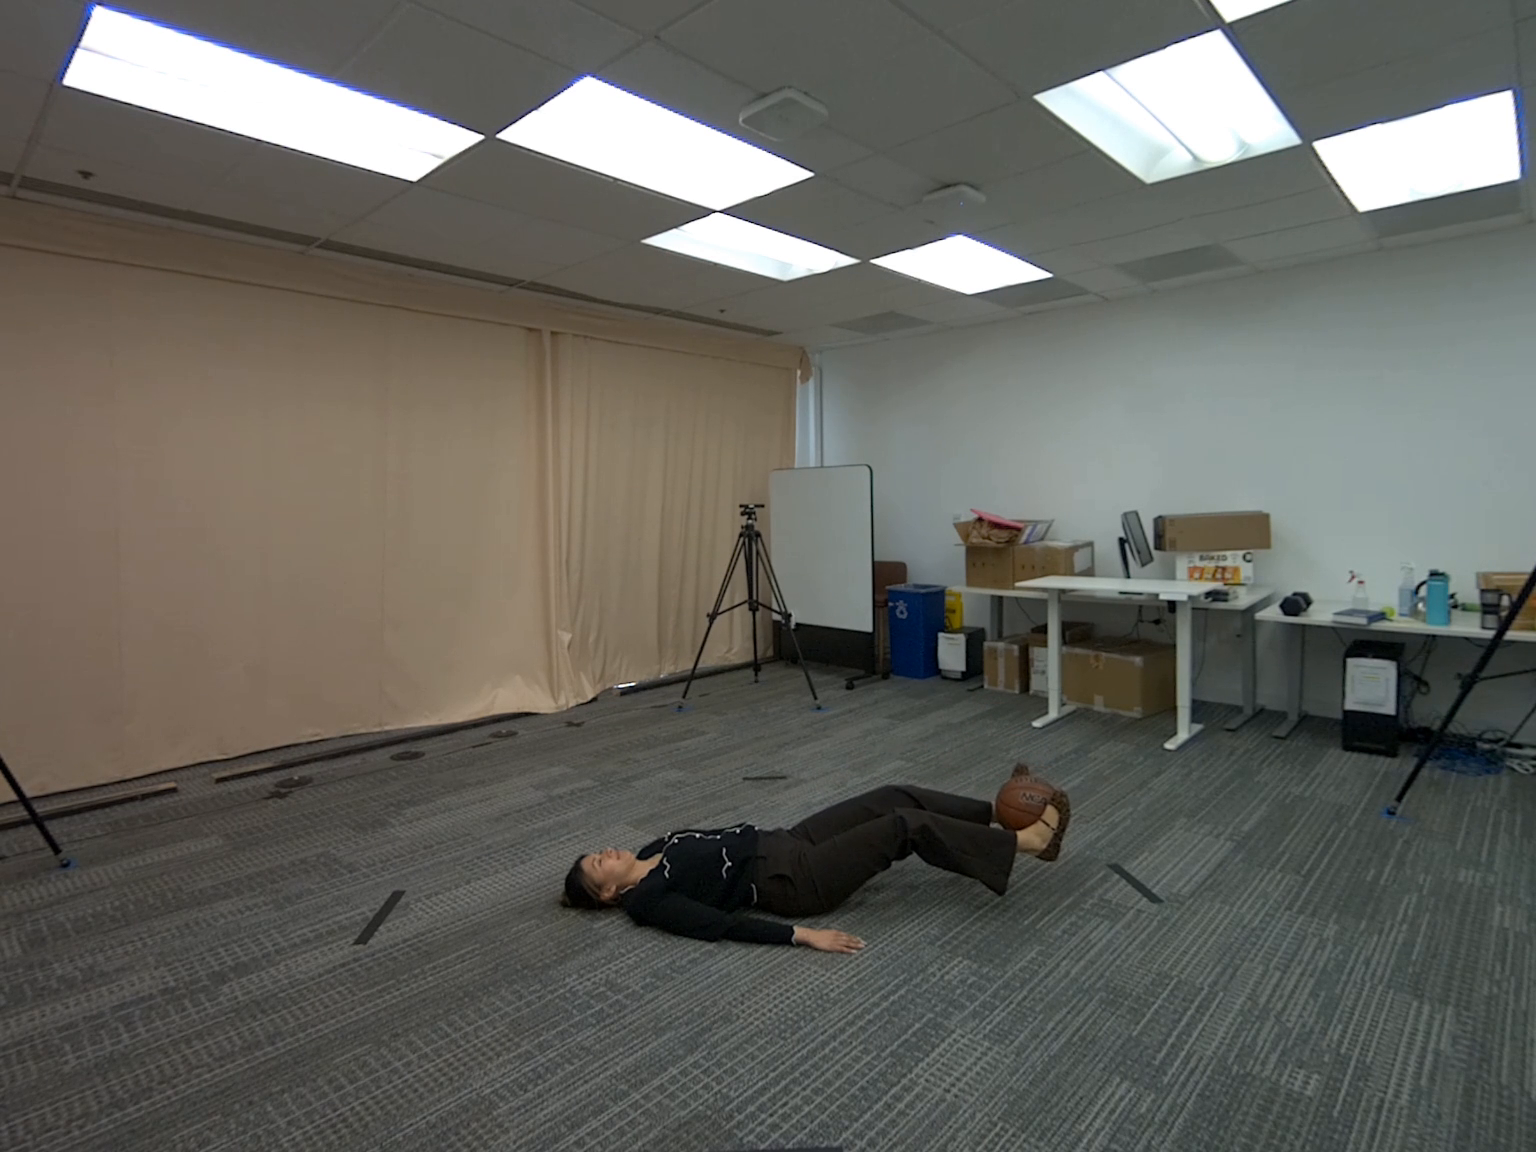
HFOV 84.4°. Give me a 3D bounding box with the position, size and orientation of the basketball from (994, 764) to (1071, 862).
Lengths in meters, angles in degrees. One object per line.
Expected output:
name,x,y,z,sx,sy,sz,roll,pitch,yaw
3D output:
basketball,0.957,0.843,3.037,0.236,0.236,0.236,0,1,-2
